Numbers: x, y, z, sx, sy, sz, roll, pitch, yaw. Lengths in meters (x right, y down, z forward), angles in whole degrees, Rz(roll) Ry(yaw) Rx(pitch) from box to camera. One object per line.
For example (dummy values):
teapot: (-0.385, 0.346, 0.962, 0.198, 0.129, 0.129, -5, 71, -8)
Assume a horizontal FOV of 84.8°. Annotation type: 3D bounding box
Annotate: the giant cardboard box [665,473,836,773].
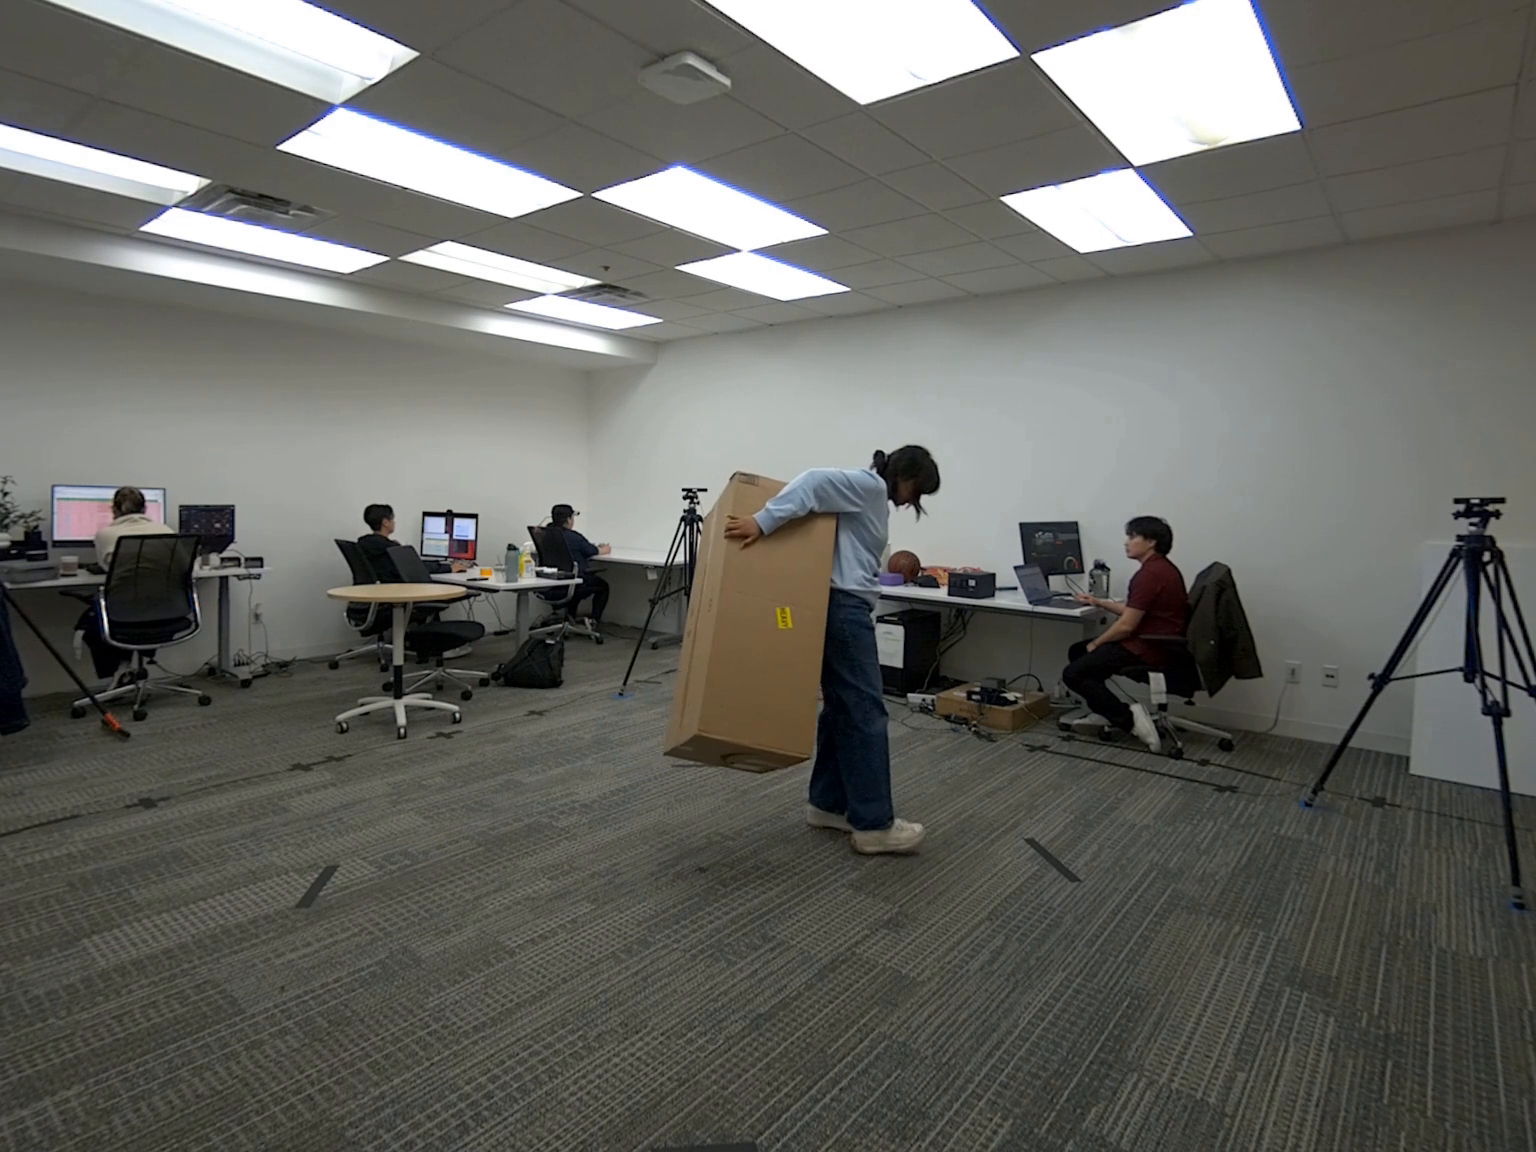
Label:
giant cardboard box: (-0.079, 0.201, 3.350, 0.420, 1.043, 0.576, 14, -23, -13)
